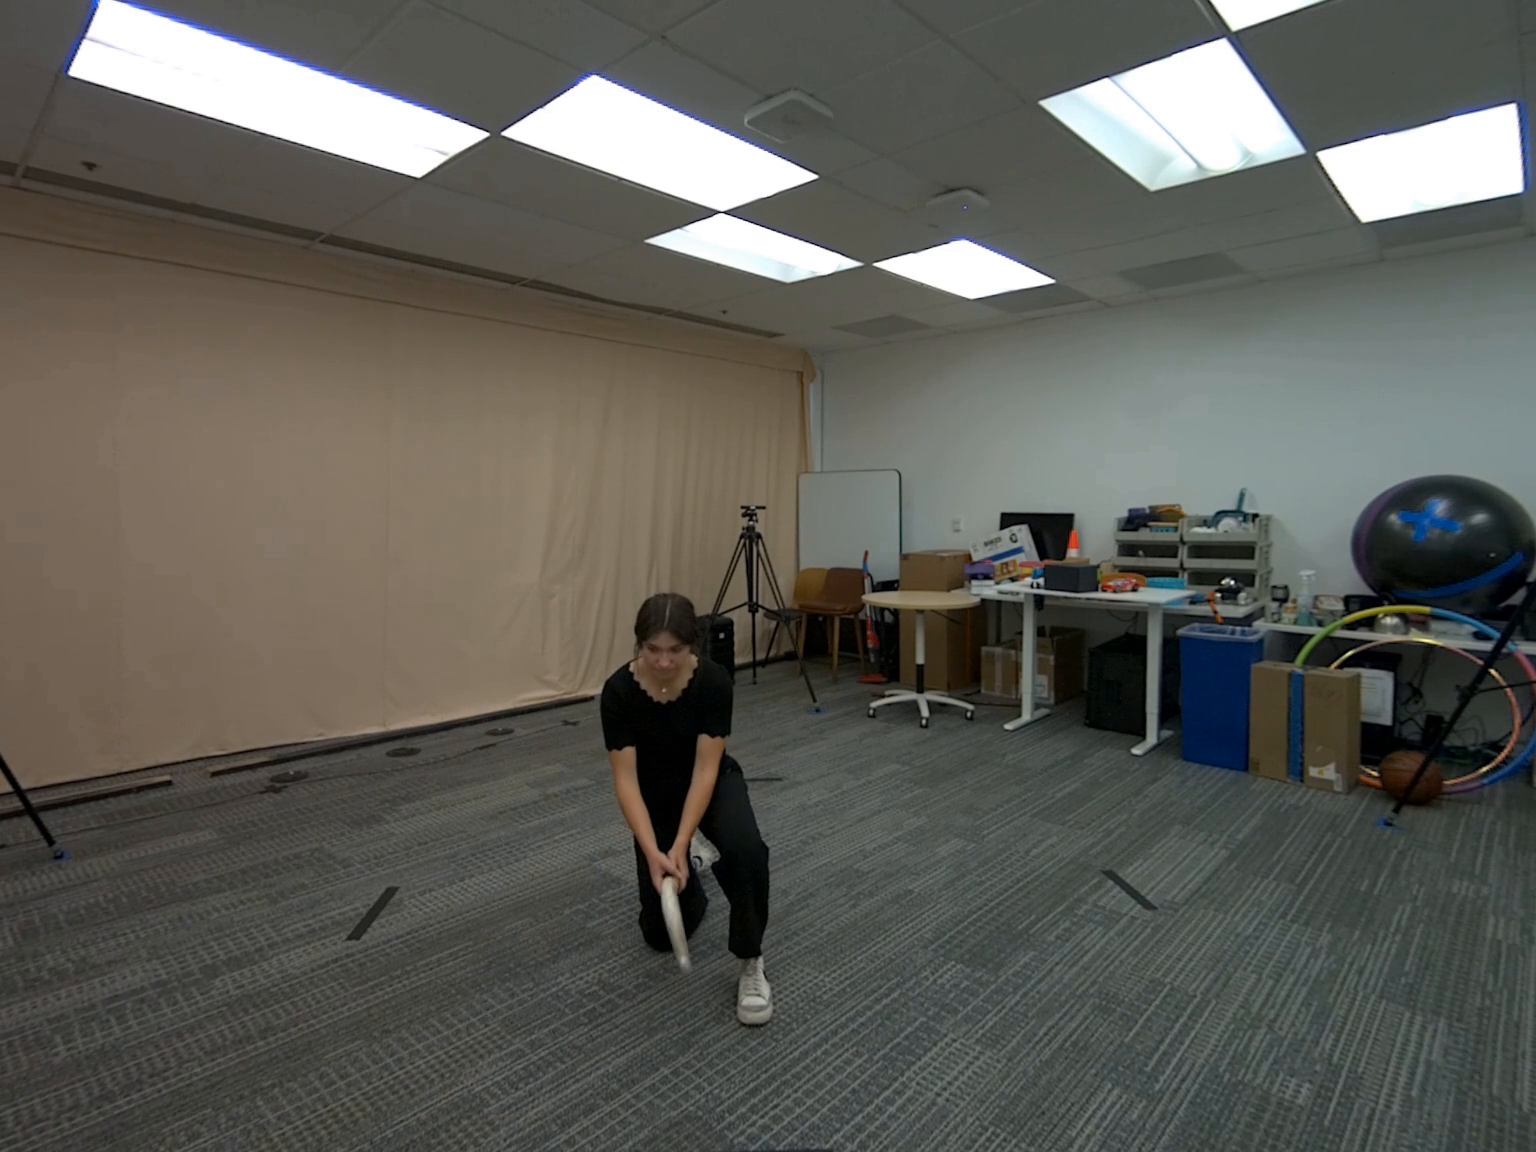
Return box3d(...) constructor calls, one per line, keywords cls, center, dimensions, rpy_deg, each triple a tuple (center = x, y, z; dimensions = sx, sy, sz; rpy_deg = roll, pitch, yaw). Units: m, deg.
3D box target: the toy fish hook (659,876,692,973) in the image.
box3d(cls="toy fish hook", center=(-0.250, 0.828, 2.147), dimensions=(0.048, 0.225, 0.509), rpy_deg=(-8, -3, -9))
